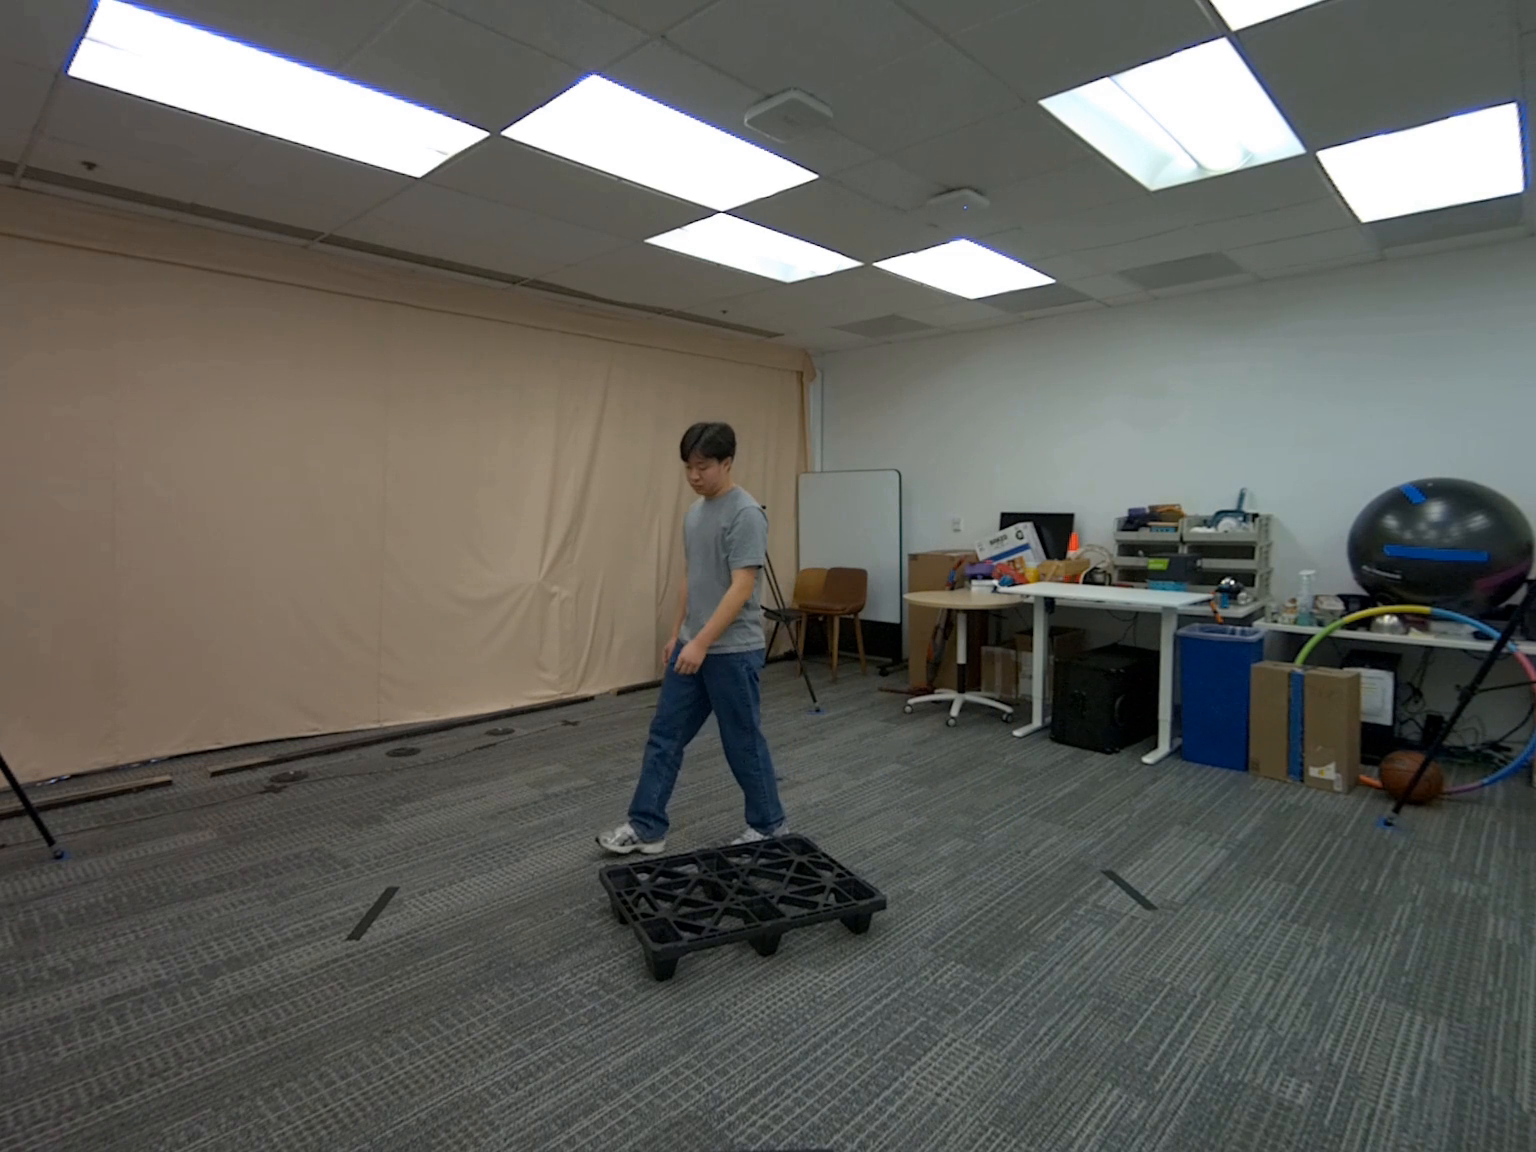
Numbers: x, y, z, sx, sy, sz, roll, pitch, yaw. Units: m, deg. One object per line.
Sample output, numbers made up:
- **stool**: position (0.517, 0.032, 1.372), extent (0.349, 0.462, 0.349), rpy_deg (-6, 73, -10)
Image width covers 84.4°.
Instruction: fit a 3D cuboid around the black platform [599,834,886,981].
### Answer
- **black platform**: position (-0.102, 1.090, 2.817), extent (0.787, 0.143, 0.621), rpy_deg (-2, 4, -25)
